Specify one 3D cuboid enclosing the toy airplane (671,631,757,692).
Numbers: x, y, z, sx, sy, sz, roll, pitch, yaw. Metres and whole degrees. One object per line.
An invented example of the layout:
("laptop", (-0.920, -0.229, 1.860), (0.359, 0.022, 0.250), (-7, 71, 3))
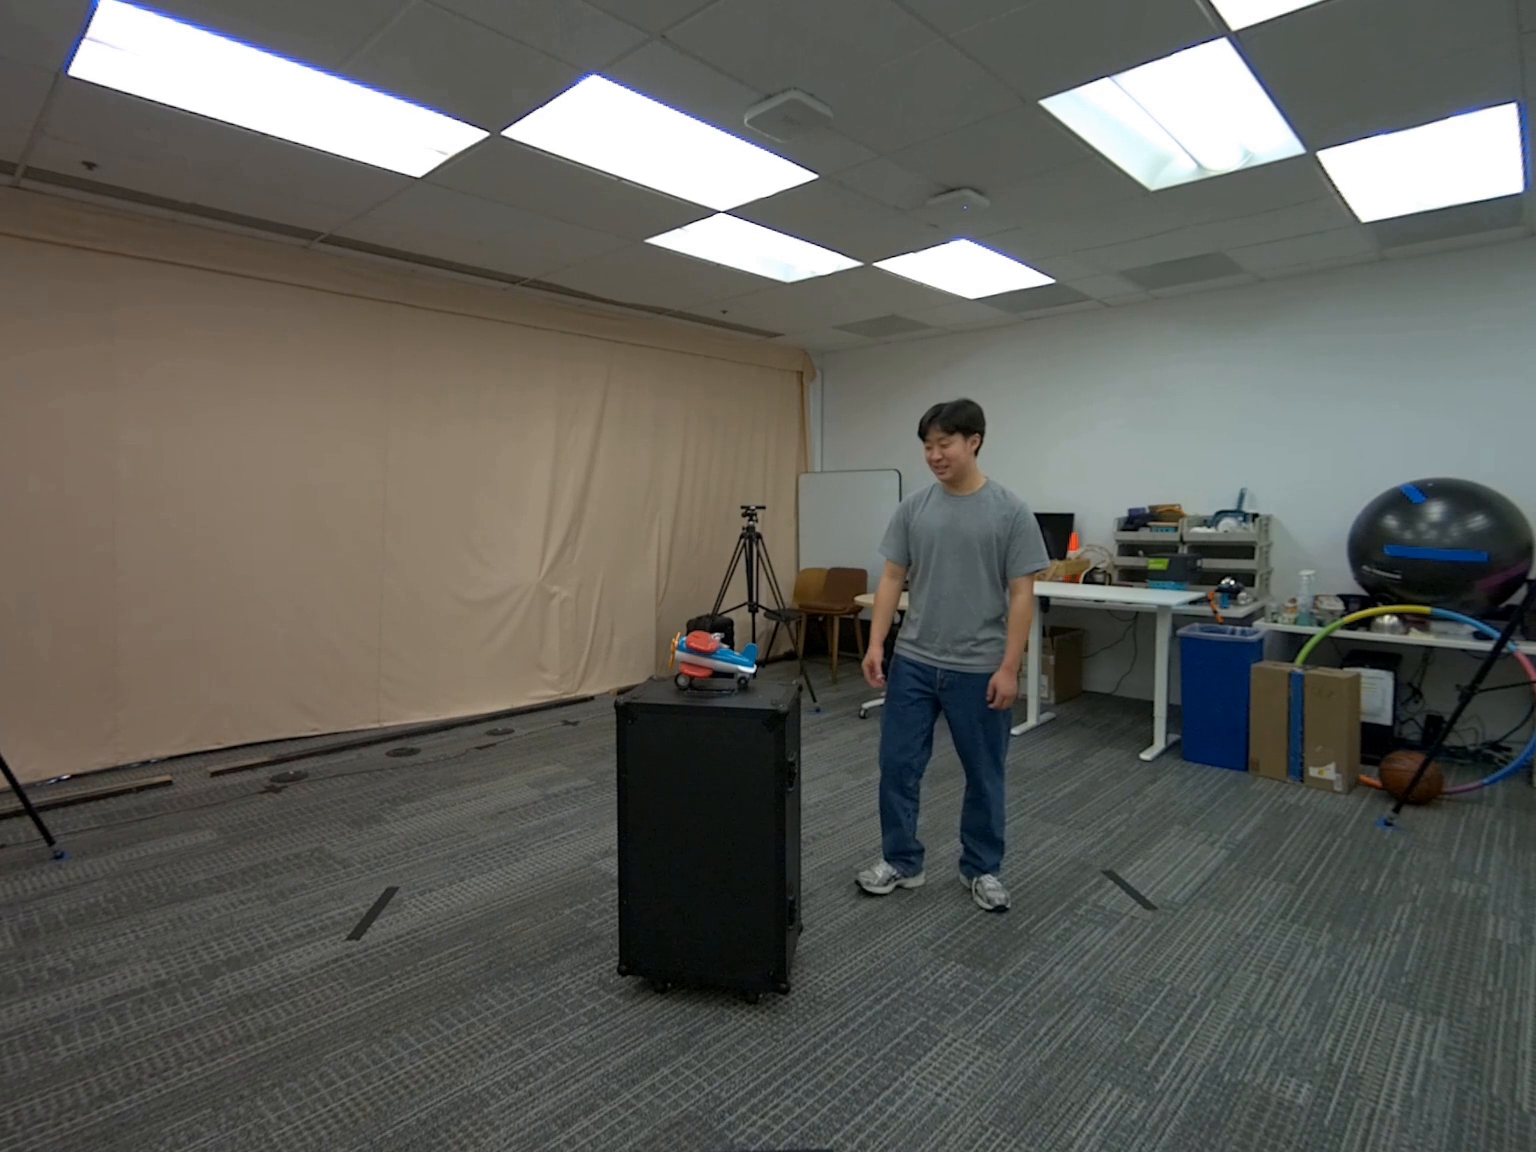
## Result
("toy airplane", (-0.161, 0.252, 2.548), (0.253, 0.156, 0.257), (-4, 5, -24))
